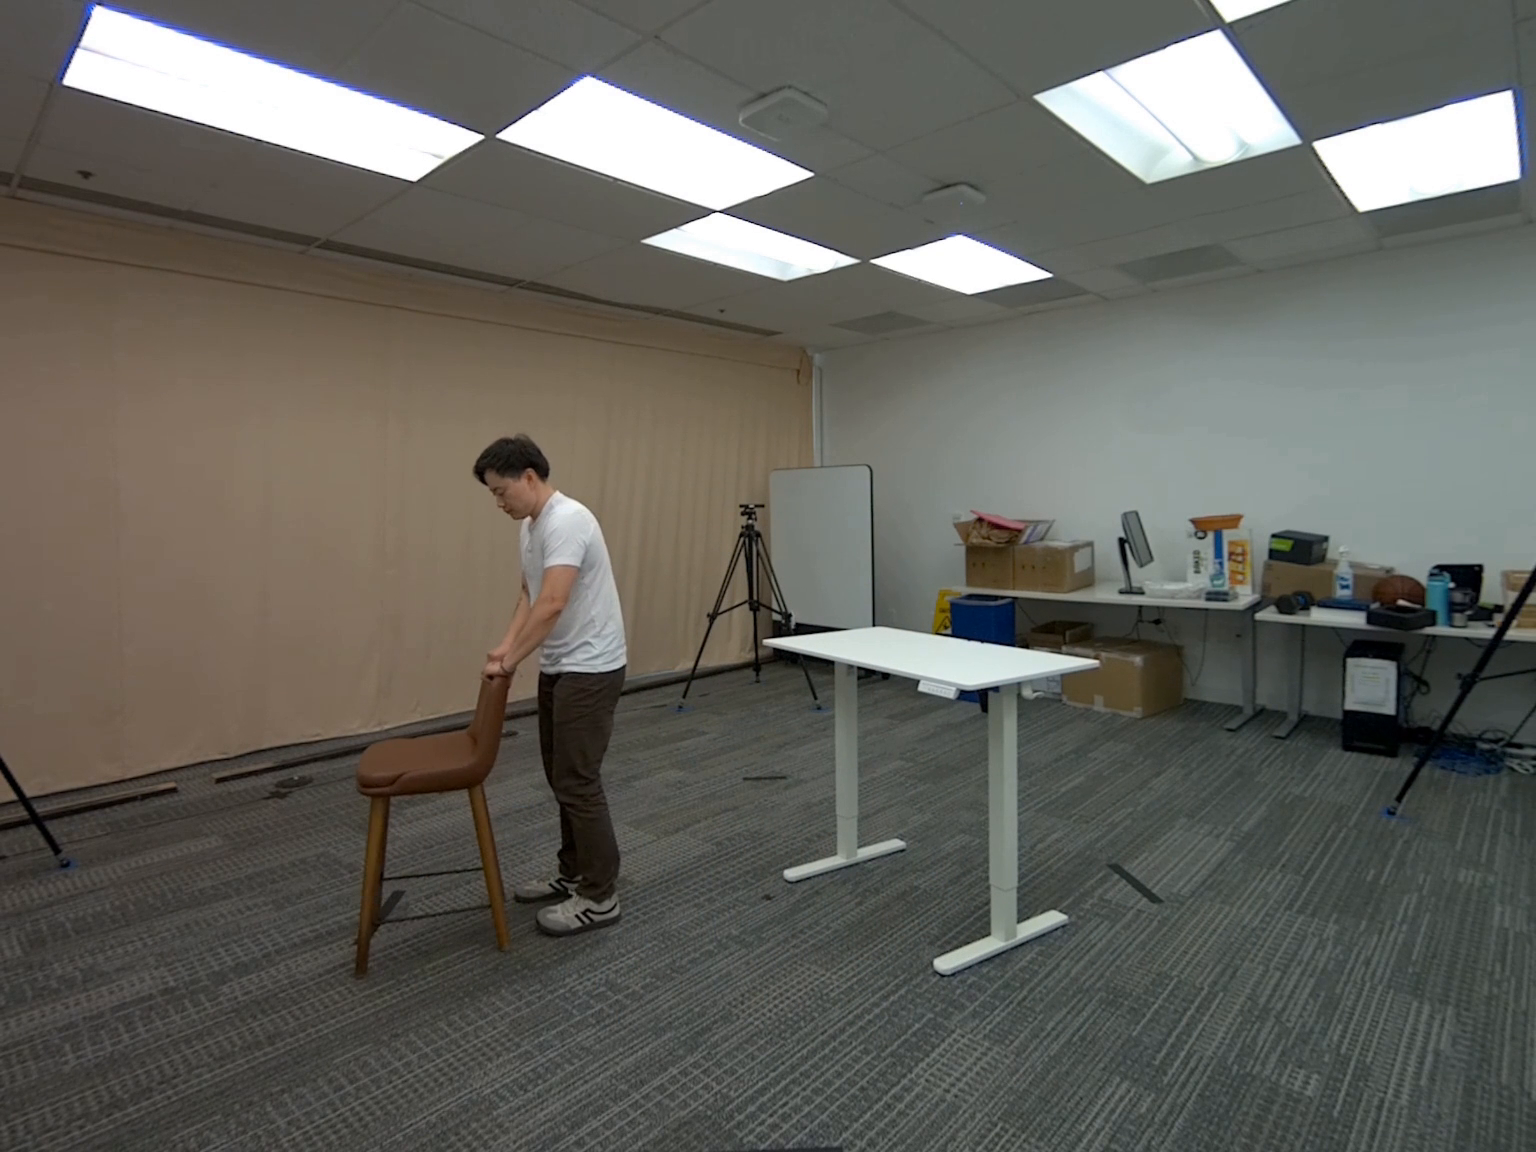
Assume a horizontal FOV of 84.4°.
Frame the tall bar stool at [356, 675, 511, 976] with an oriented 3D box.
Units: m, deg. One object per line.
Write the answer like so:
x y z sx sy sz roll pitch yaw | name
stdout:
-1.091 0.752 2.752 0.459 0.889 0.465 -1 1 -19 | tall bar stool
